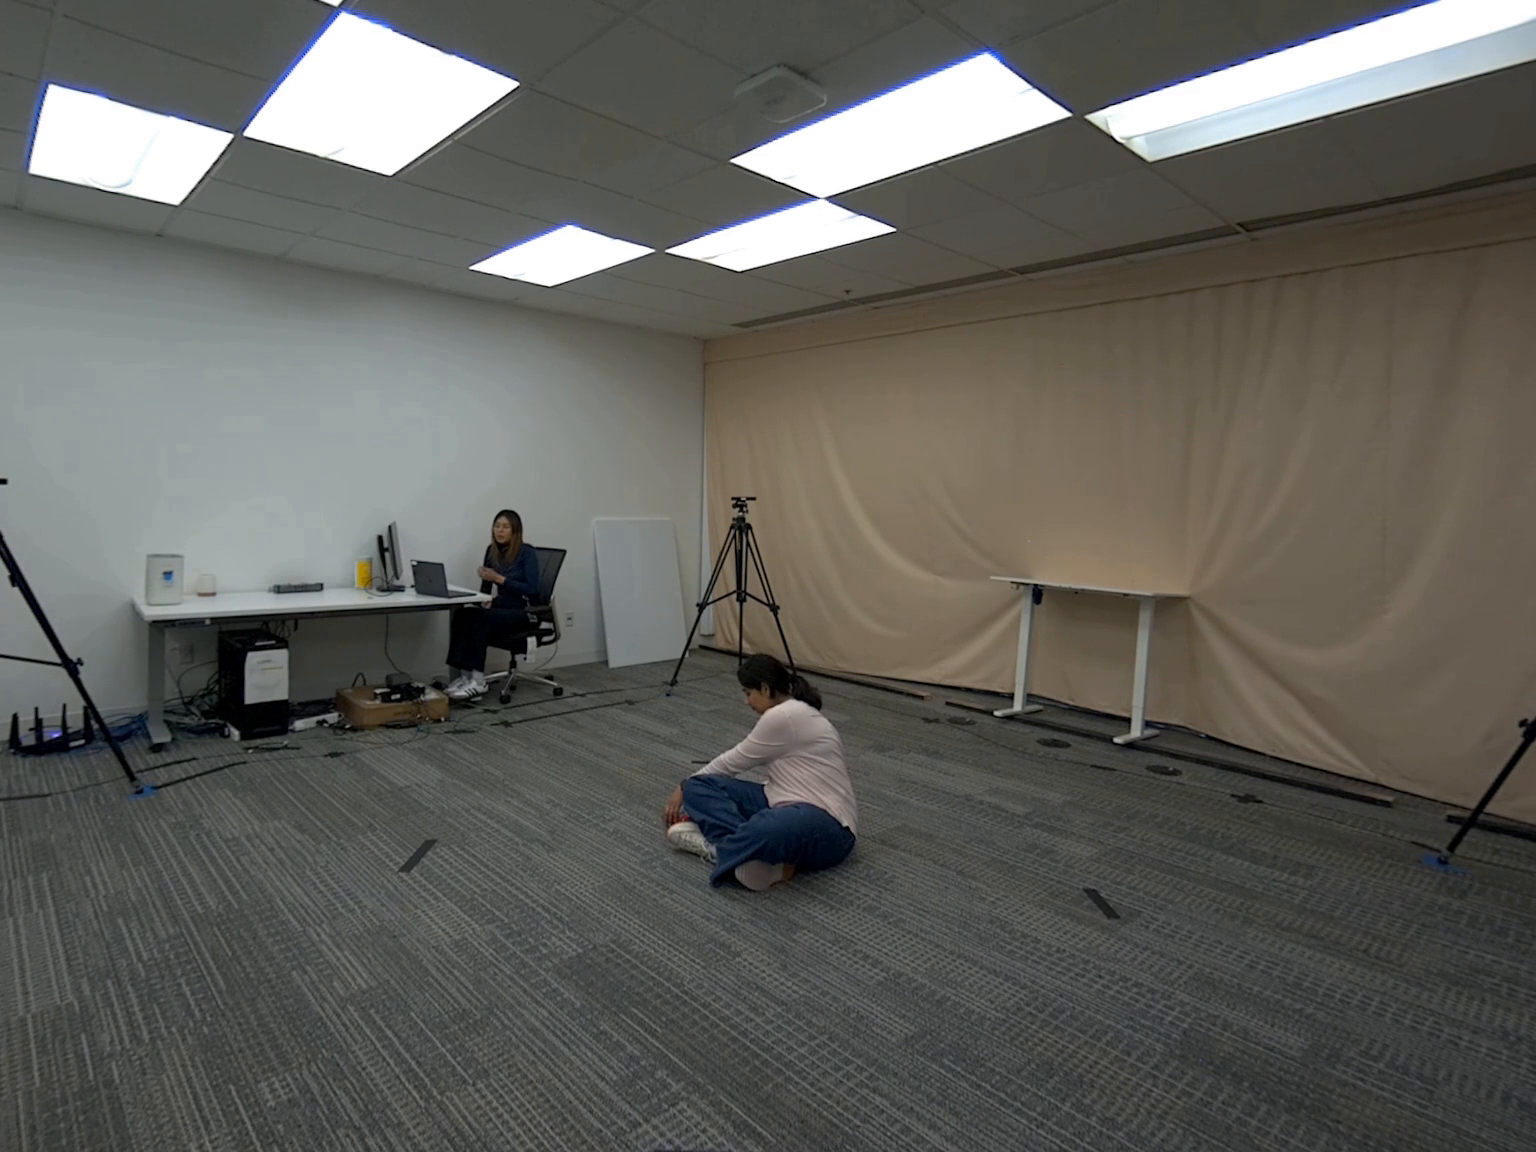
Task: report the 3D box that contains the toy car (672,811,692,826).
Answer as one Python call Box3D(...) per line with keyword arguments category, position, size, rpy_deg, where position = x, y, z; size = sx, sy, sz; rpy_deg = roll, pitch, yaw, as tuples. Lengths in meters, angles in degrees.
Box3D(category="toy car", position=(-0.320, 1.019, 3.645), size=(0.133, 0.082, 0.251), rpy_deg=(3, 17, 39))
